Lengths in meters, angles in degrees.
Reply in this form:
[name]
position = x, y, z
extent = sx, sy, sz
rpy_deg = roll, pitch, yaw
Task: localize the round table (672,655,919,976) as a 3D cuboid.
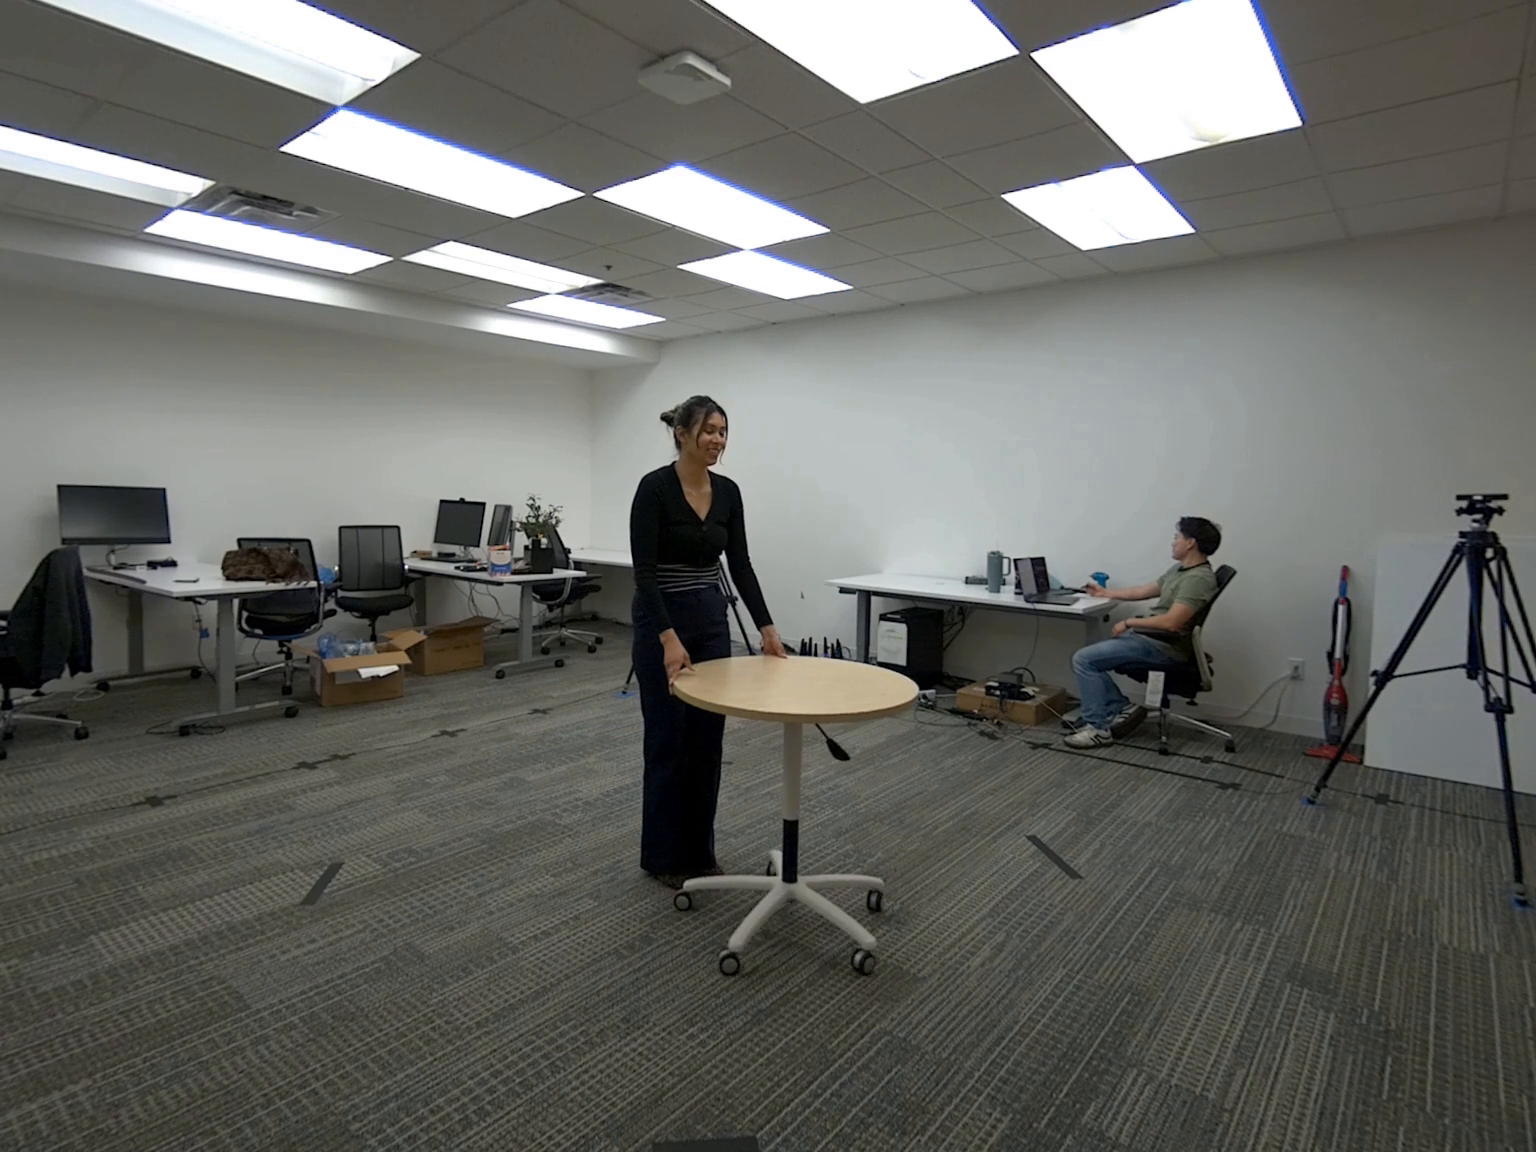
[round table]
position = 0.067, 0.718, 2.706
extent = 0.763, 0.791, 0.768
rpy_deg = 1, 5, -2
